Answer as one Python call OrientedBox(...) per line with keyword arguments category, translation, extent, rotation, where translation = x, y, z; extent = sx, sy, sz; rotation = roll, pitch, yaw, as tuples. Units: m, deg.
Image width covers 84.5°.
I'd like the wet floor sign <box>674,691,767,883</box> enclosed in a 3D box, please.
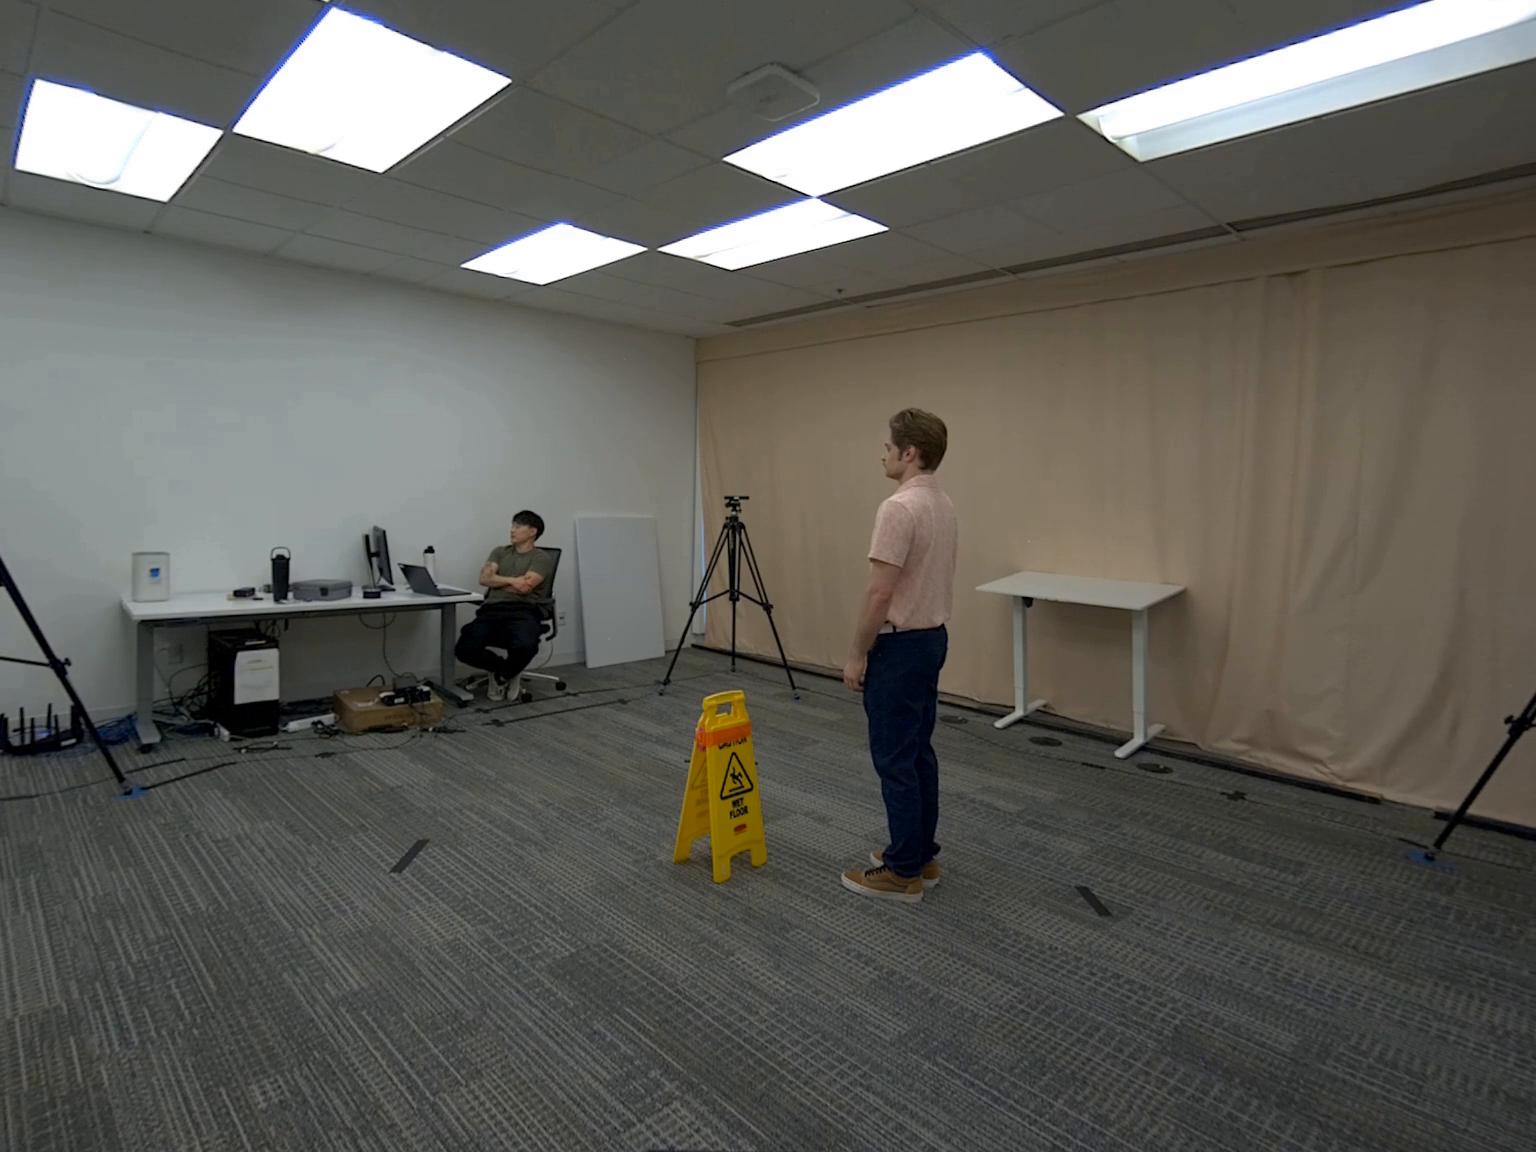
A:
OrientedBox(category="wet floor sign", translation=(-0.181, 0.763, 3.194), extent=(0.297, 0.645, 0.276), rotation=(3, 3, 43))
